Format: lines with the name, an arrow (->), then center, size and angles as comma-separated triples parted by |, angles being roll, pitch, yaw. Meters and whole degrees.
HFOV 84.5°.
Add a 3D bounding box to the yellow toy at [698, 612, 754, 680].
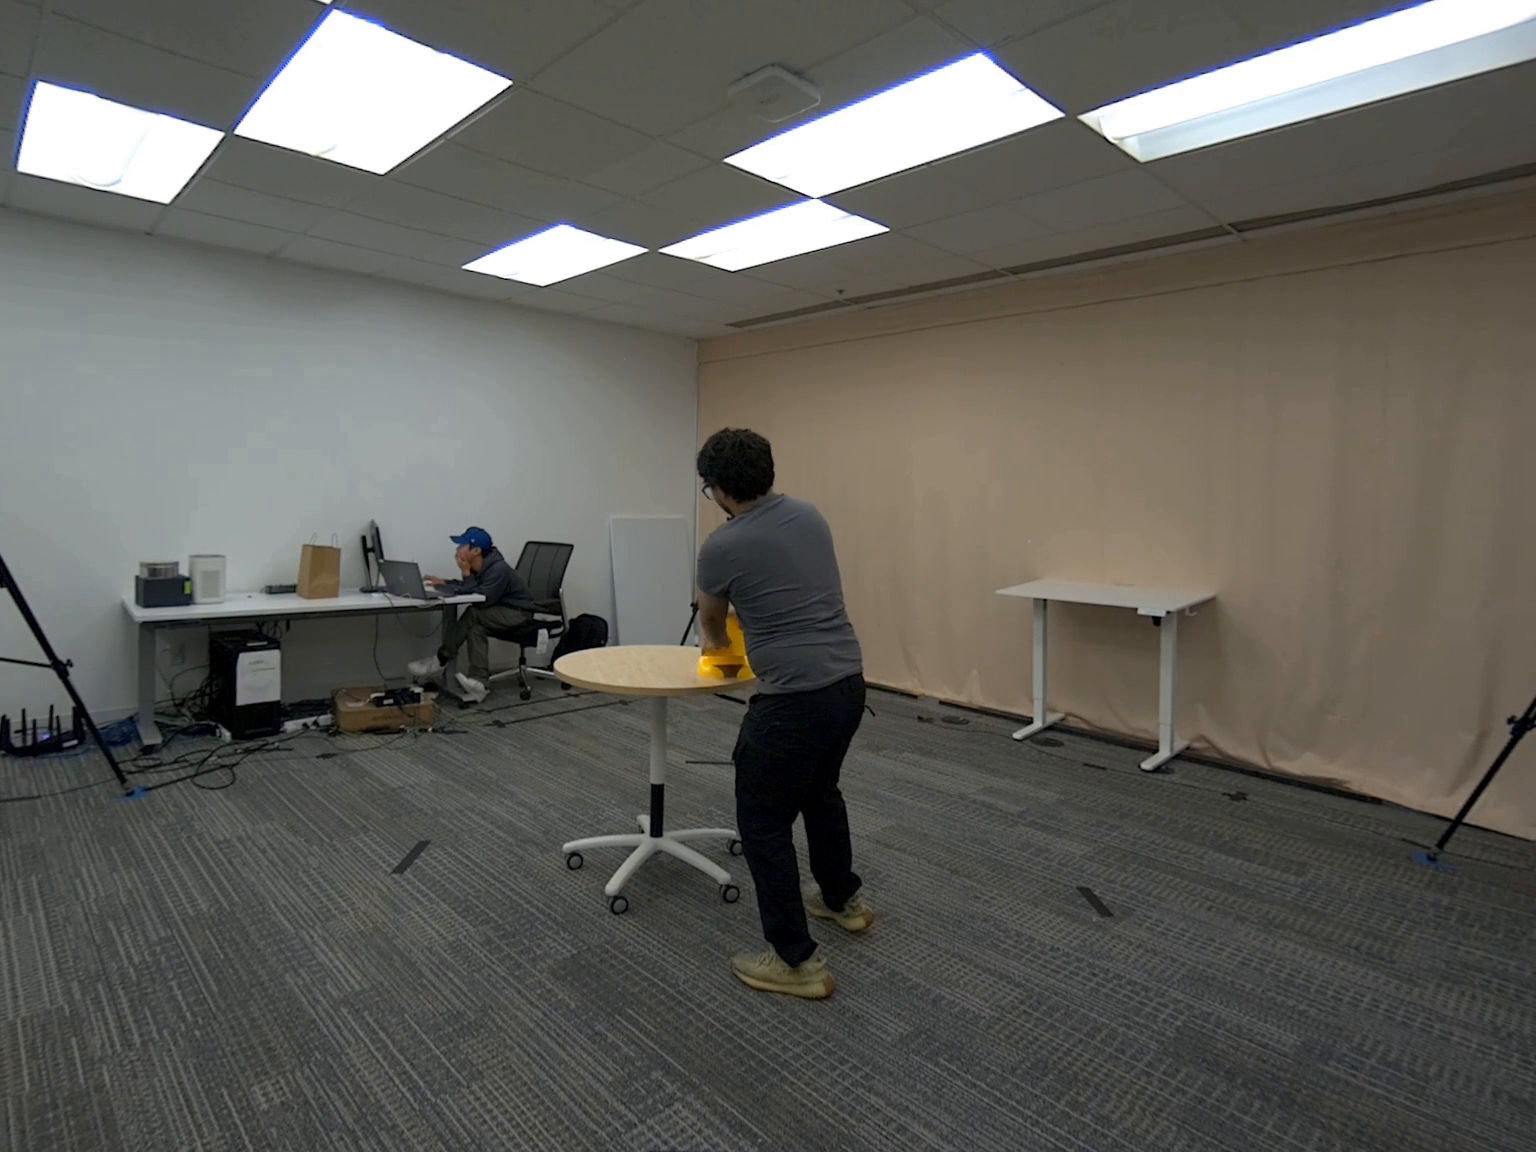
yellow toy -> -0.157, 0.230, 2.951 | 0.202, 0.230, 0.196 | 0, 4, -15
